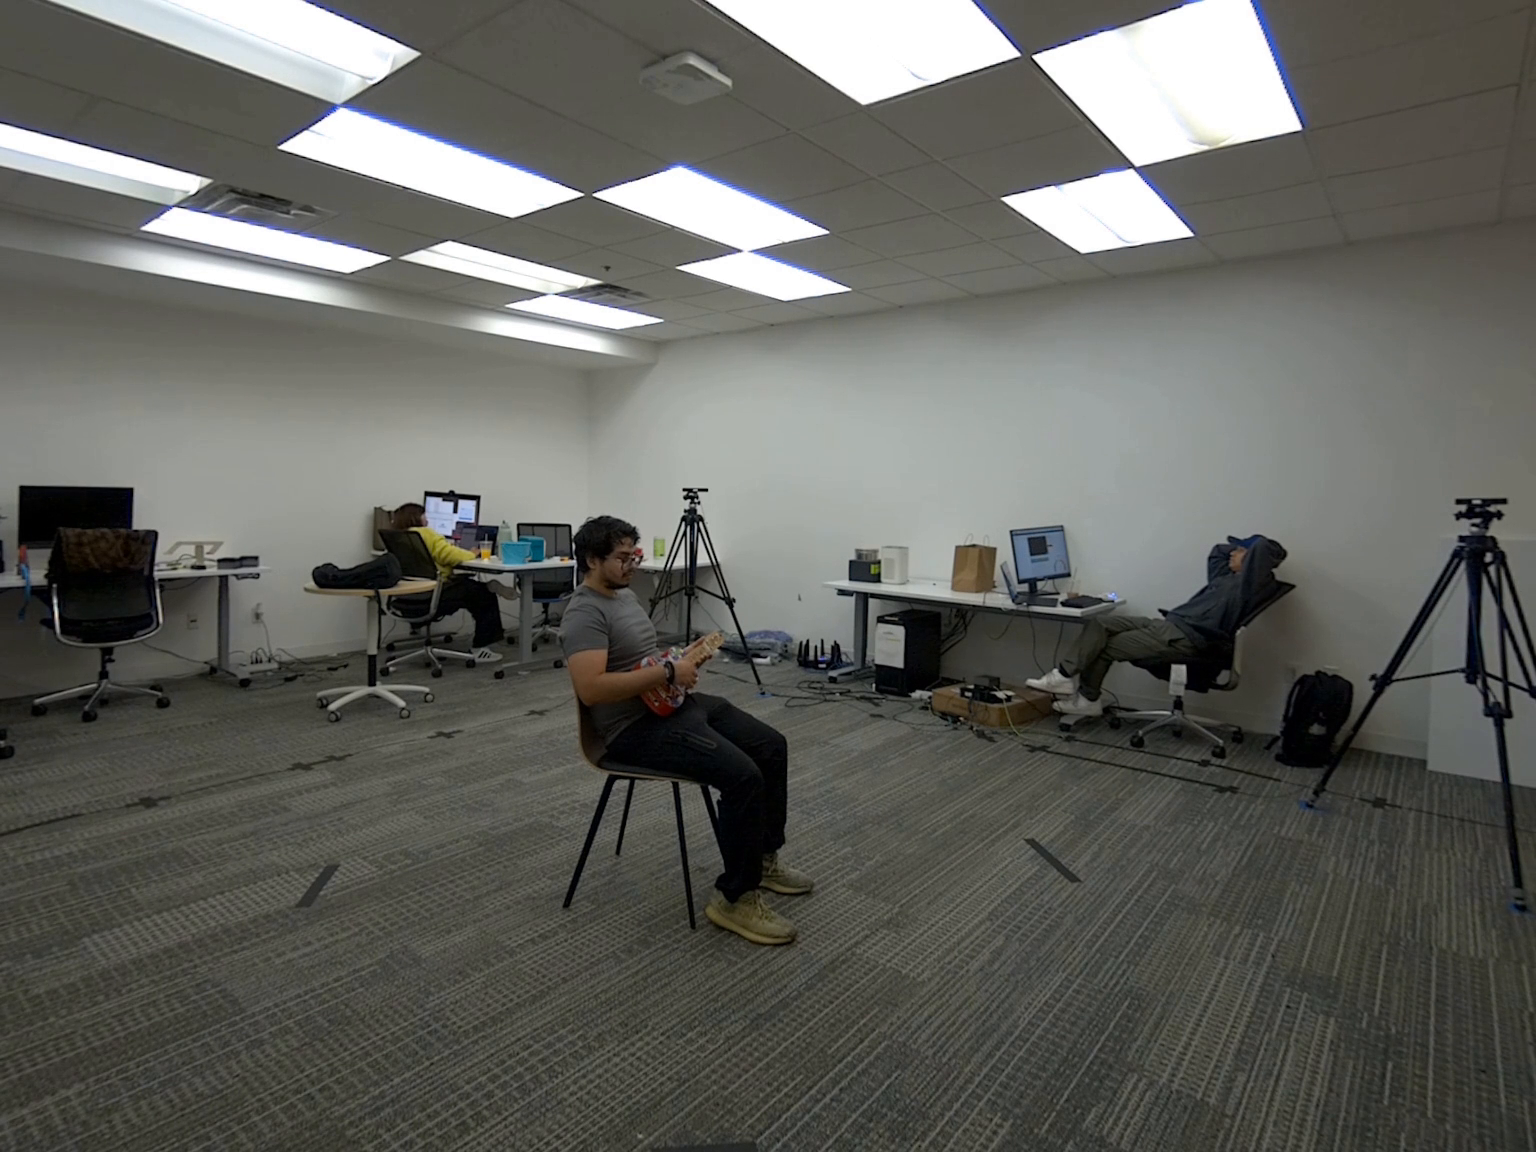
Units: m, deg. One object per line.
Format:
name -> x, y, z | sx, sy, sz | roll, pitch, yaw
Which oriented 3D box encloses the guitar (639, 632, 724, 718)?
guitar -> -0.279, 0.326, 2.929 | 0.071, 0.197, 0.488 | -45, -13, 29
